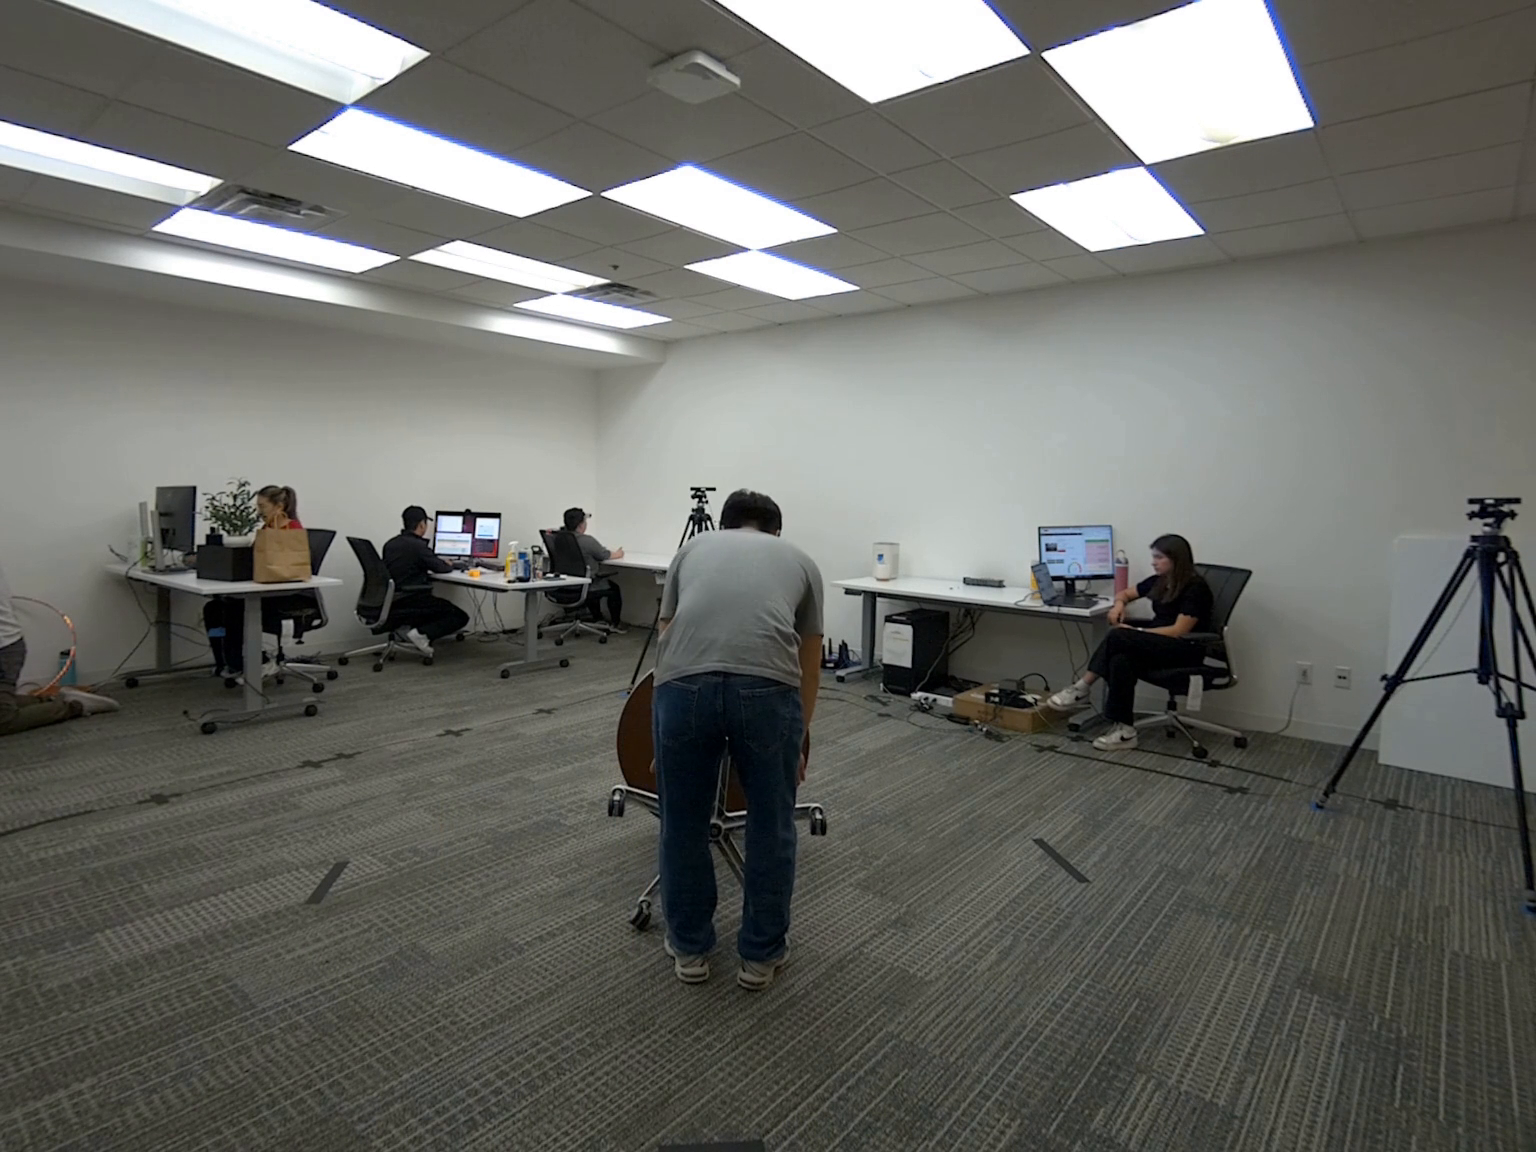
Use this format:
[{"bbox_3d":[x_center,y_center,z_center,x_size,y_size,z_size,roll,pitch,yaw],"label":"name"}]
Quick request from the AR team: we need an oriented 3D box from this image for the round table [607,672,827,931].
[{"bbox_3d":[-0.199,0.738,2.993,0.763,0.756,0.803,1,11,-2],"label":"round table"}]
